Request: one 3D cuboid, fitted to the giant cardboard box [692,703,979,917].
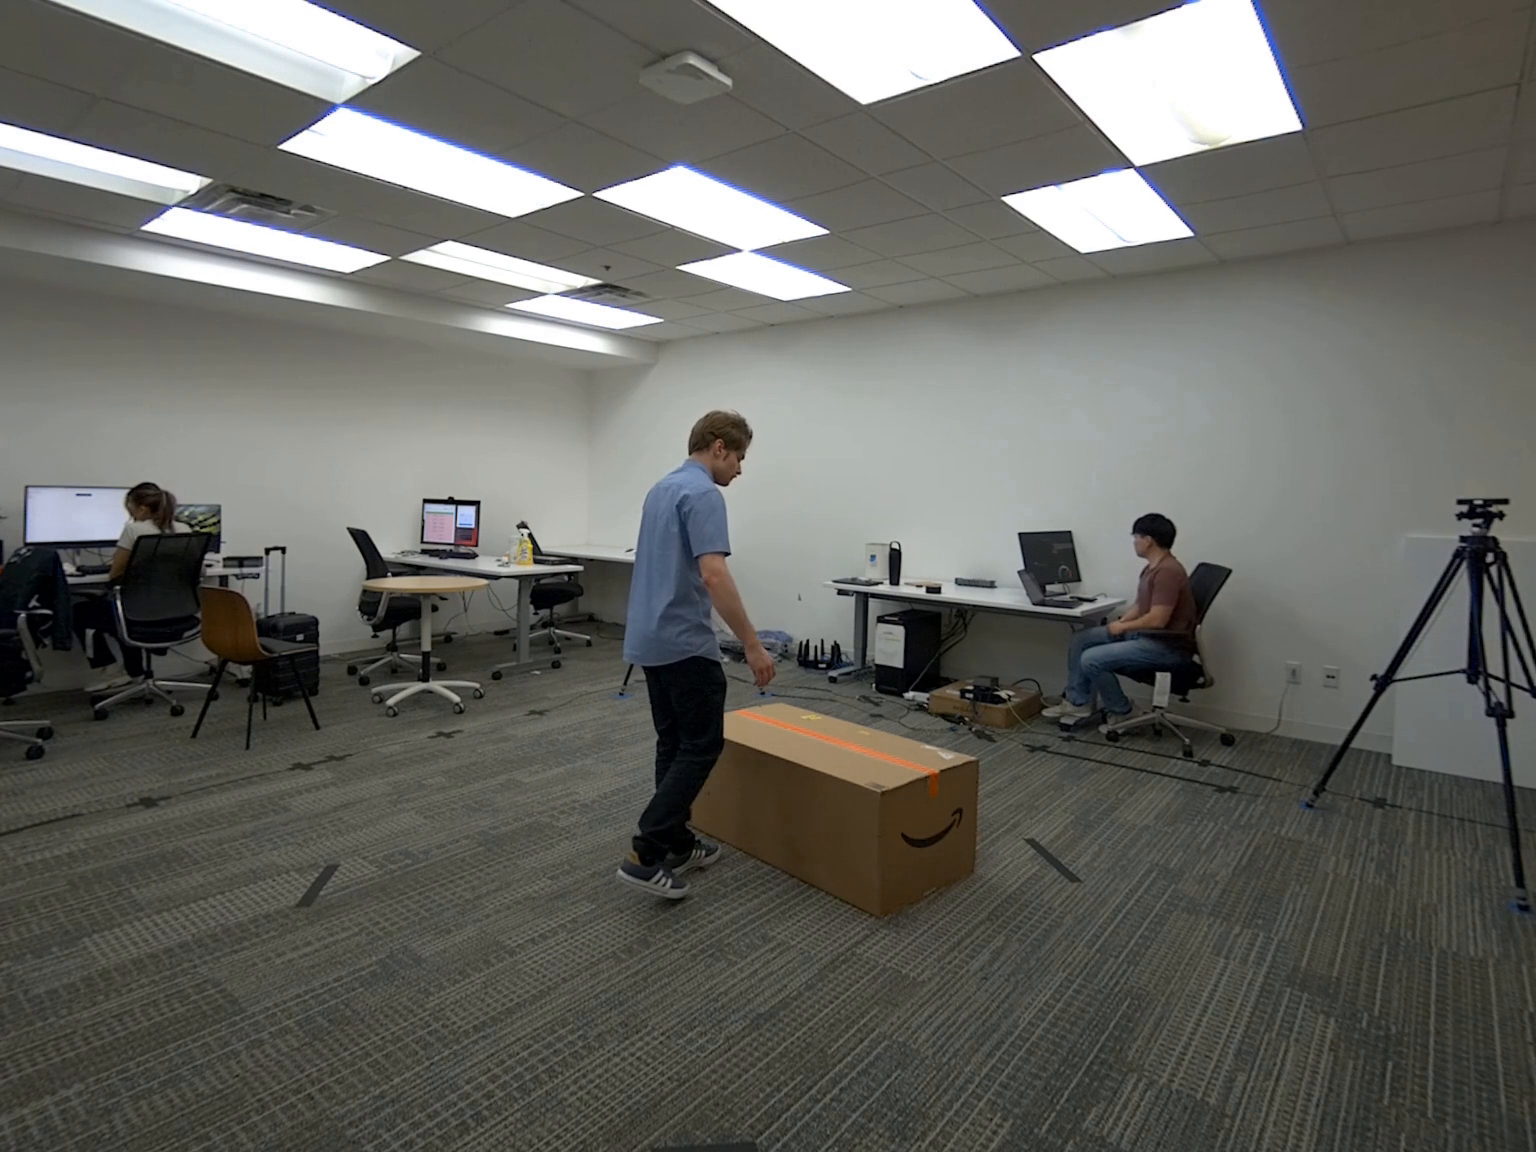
[{"bbox_3d":[0.206,0.844,3.328,0.567,0.445,1.063,-4,8,-43],"label":"giant cardboard box"}]
